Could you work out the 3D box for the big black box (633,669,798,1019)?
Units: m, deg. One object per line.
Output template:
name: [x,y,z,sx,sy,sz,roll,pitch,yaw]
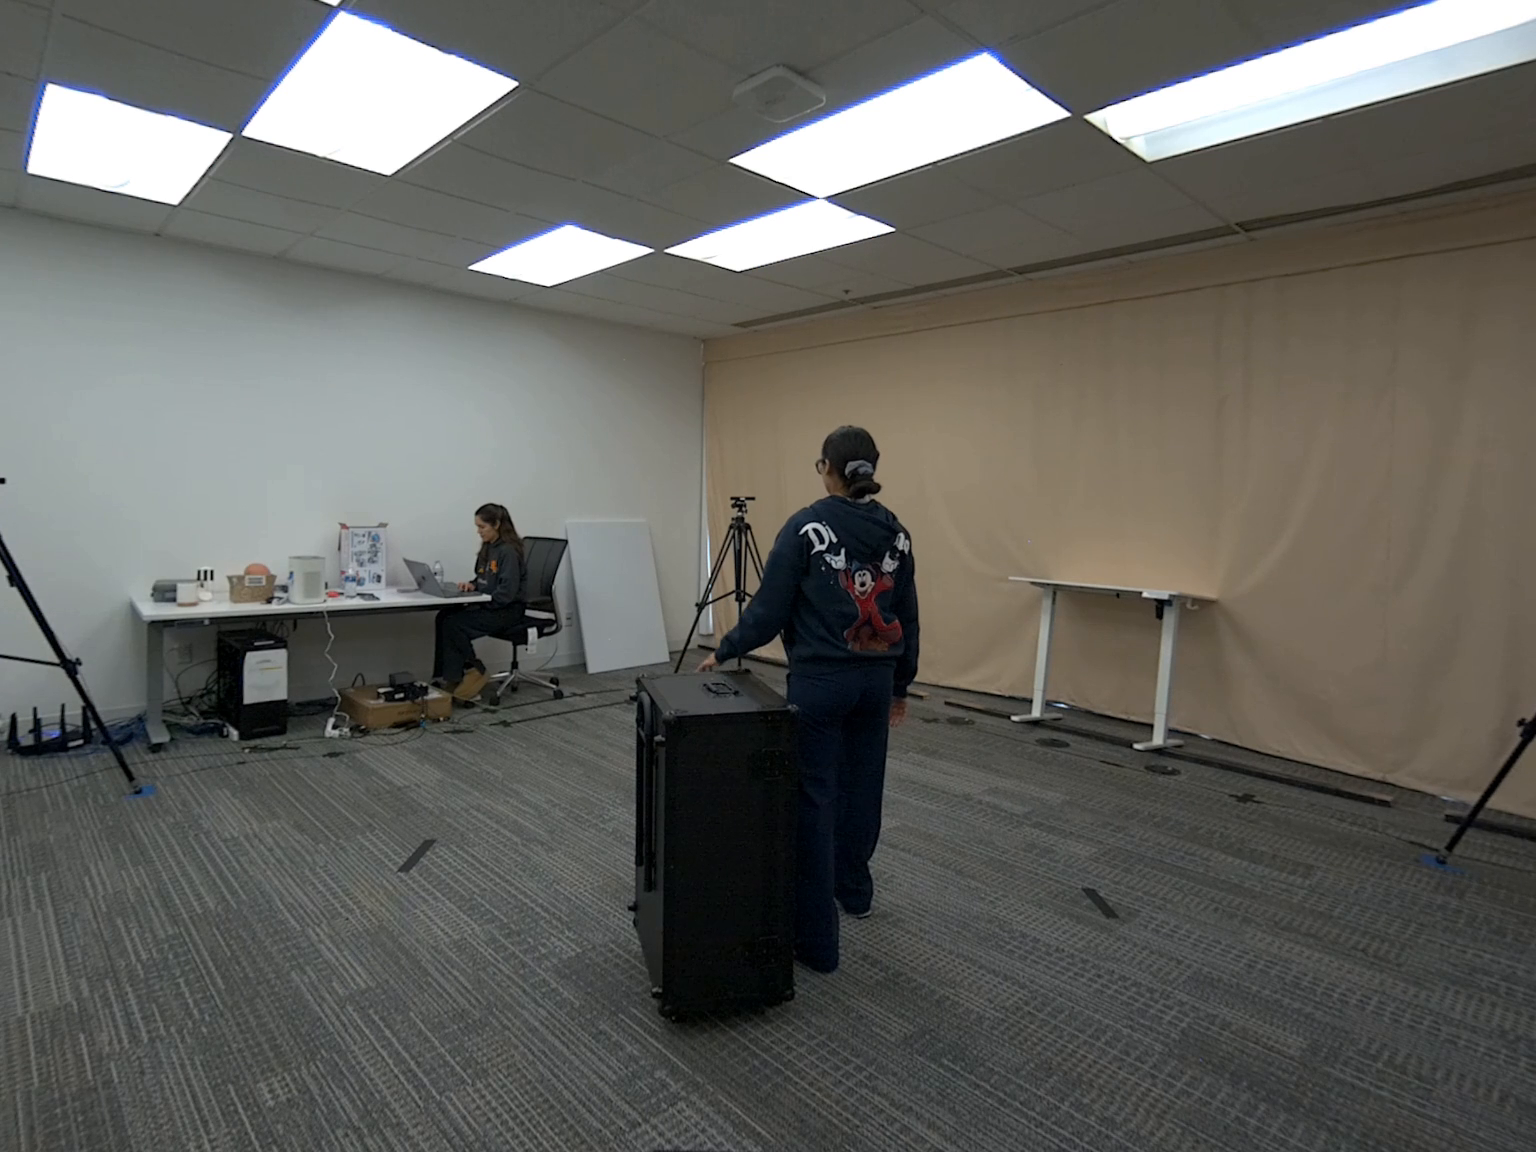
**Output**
big black box: [-0.176,0.750,2.370,0.391,0.859,0.530,-1,5,-18]
